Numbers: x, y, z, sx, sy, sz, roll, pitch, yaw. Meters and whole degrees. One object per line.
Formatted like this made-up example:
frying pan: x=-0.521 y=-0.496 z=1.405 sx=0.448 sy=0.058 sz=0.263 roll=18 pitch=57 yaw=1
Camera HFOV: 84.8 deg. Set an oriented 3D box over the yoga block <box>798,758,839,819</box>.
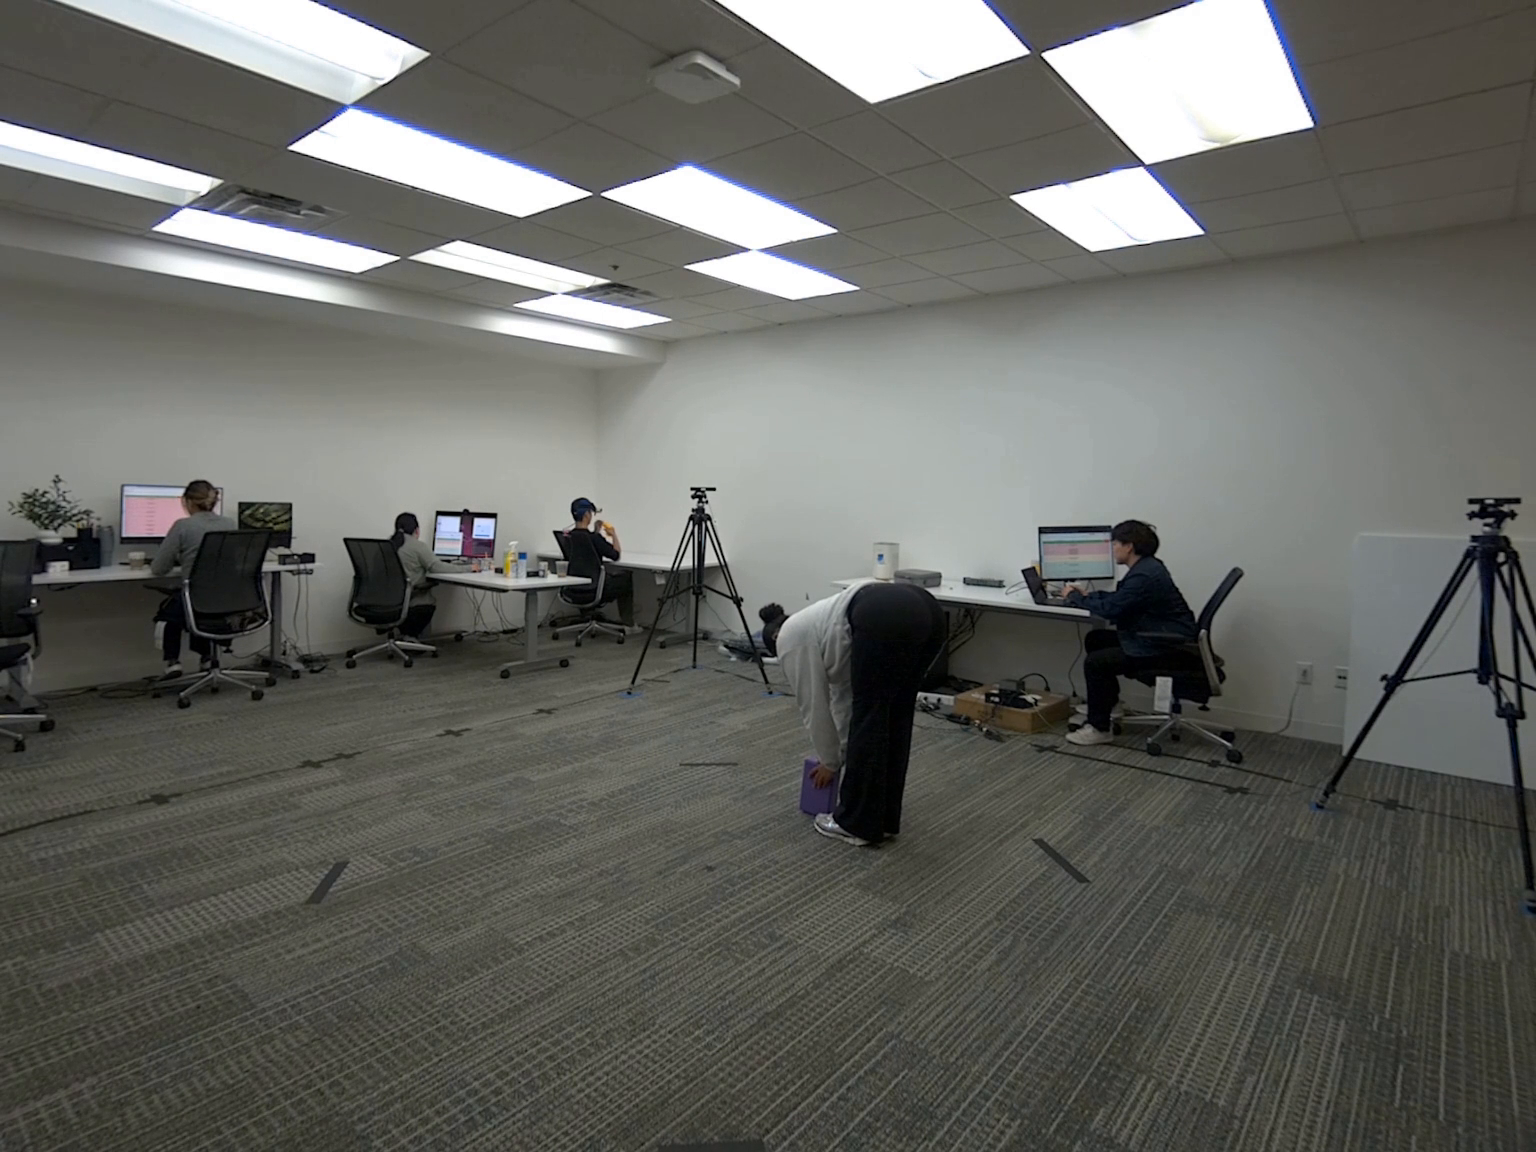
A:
yoga block: x=0.213 y=0.902 z=3.651 sx=0.154 sy=0.228 sz=0.074 roll=9 pitch=6 yaw=35
